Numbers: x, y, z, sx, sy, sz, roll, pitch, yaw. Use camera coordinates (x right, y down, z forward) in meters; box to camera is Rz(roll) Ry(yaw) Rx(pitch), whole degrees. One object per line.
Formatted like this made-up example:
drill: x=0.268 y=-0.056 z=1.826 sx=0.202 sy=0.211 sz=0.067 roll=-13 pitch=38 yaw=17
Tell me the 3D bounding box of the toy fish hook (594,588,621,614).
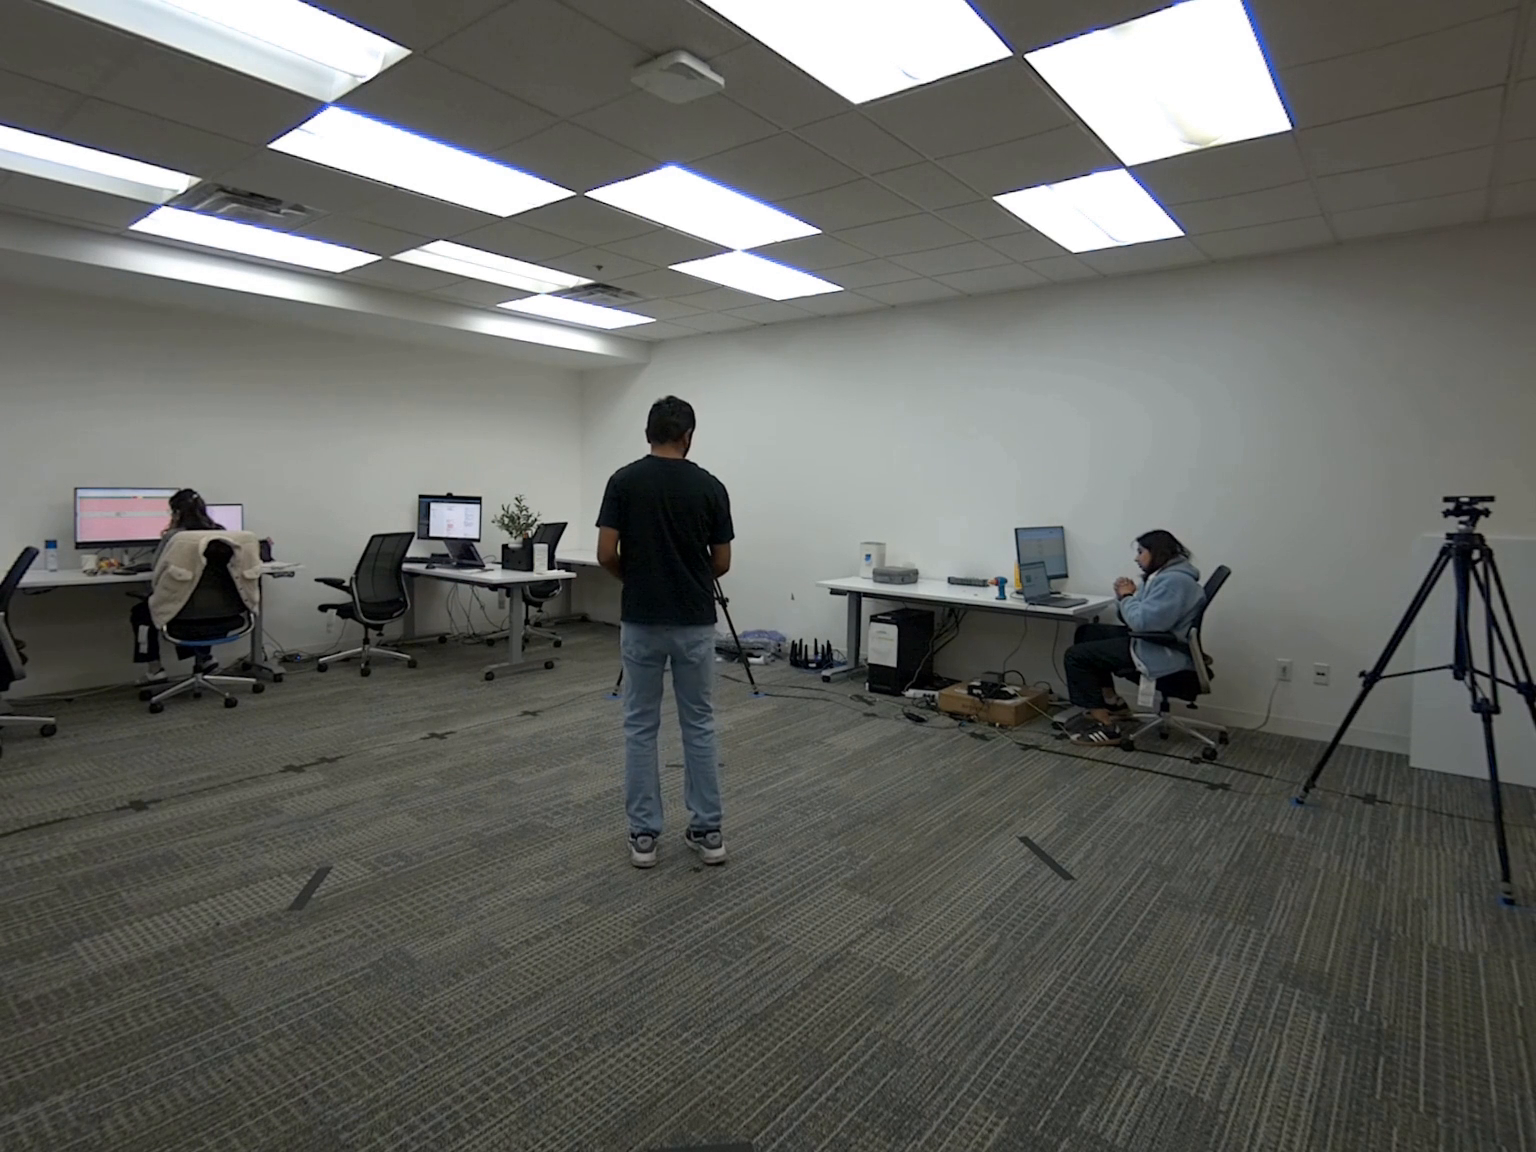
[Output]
toy fish hook: x=-0.490 y=0.017 z=3.548 sx=0.228 sy=0.048 sz=0.500 roll=-21 pitch=7 yaw=33
